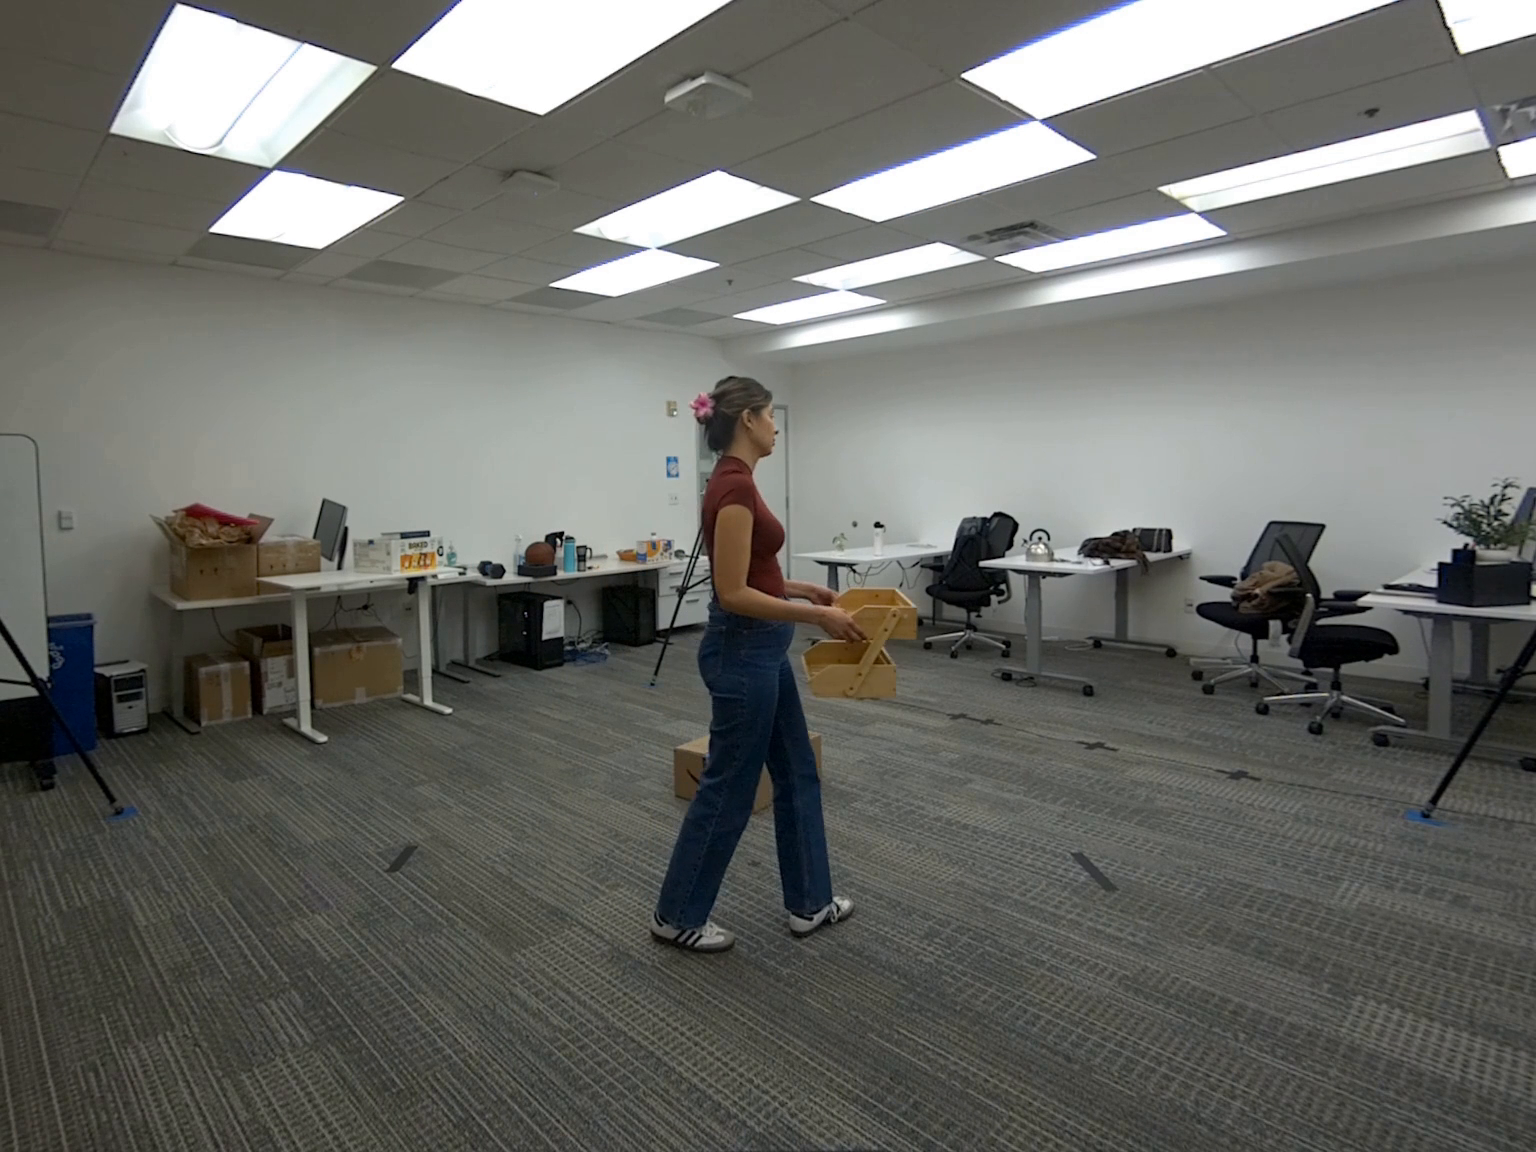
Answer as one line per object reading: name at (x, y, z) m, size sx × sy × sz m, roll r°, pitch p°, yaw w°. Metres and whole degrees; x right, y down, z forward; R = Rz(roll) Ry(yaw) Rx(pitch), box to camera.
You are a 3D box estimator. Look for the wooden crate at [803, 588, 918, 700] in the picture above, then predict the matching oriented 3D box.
wooden crate at (0.239, 0.190, 2.545) m, size 0.302 × 0.272 × 0.326 m, roll 0°, pitch 7°, yaw -1°
